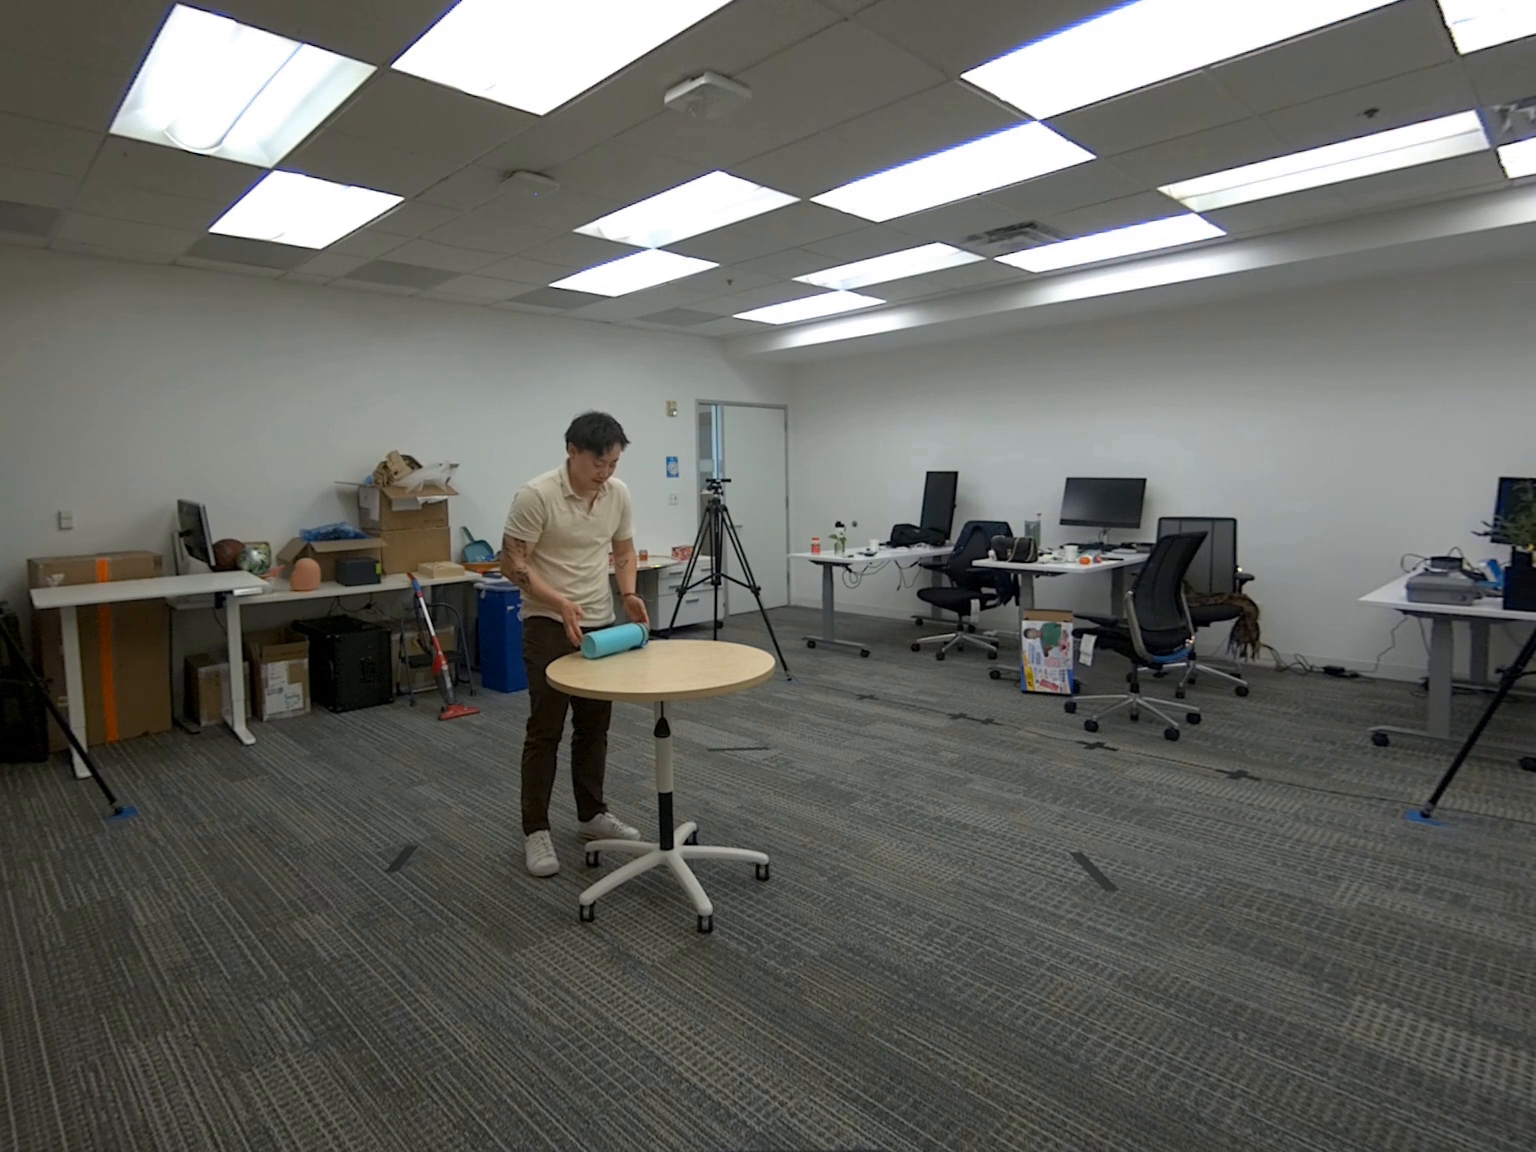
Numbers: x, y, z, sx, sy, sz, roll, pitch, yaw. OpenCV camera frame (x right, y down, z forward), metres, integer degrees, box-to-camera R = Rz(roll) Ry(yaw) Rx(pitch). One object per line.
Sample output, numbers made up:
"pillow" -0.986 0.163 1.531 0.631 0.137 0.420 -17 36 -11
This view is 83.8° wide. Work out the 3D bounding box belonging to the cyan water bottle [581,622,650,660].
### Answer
"cyan water bottle" -0.538 0.229 3.058 0.095 0.092 0.276 3 8 39
